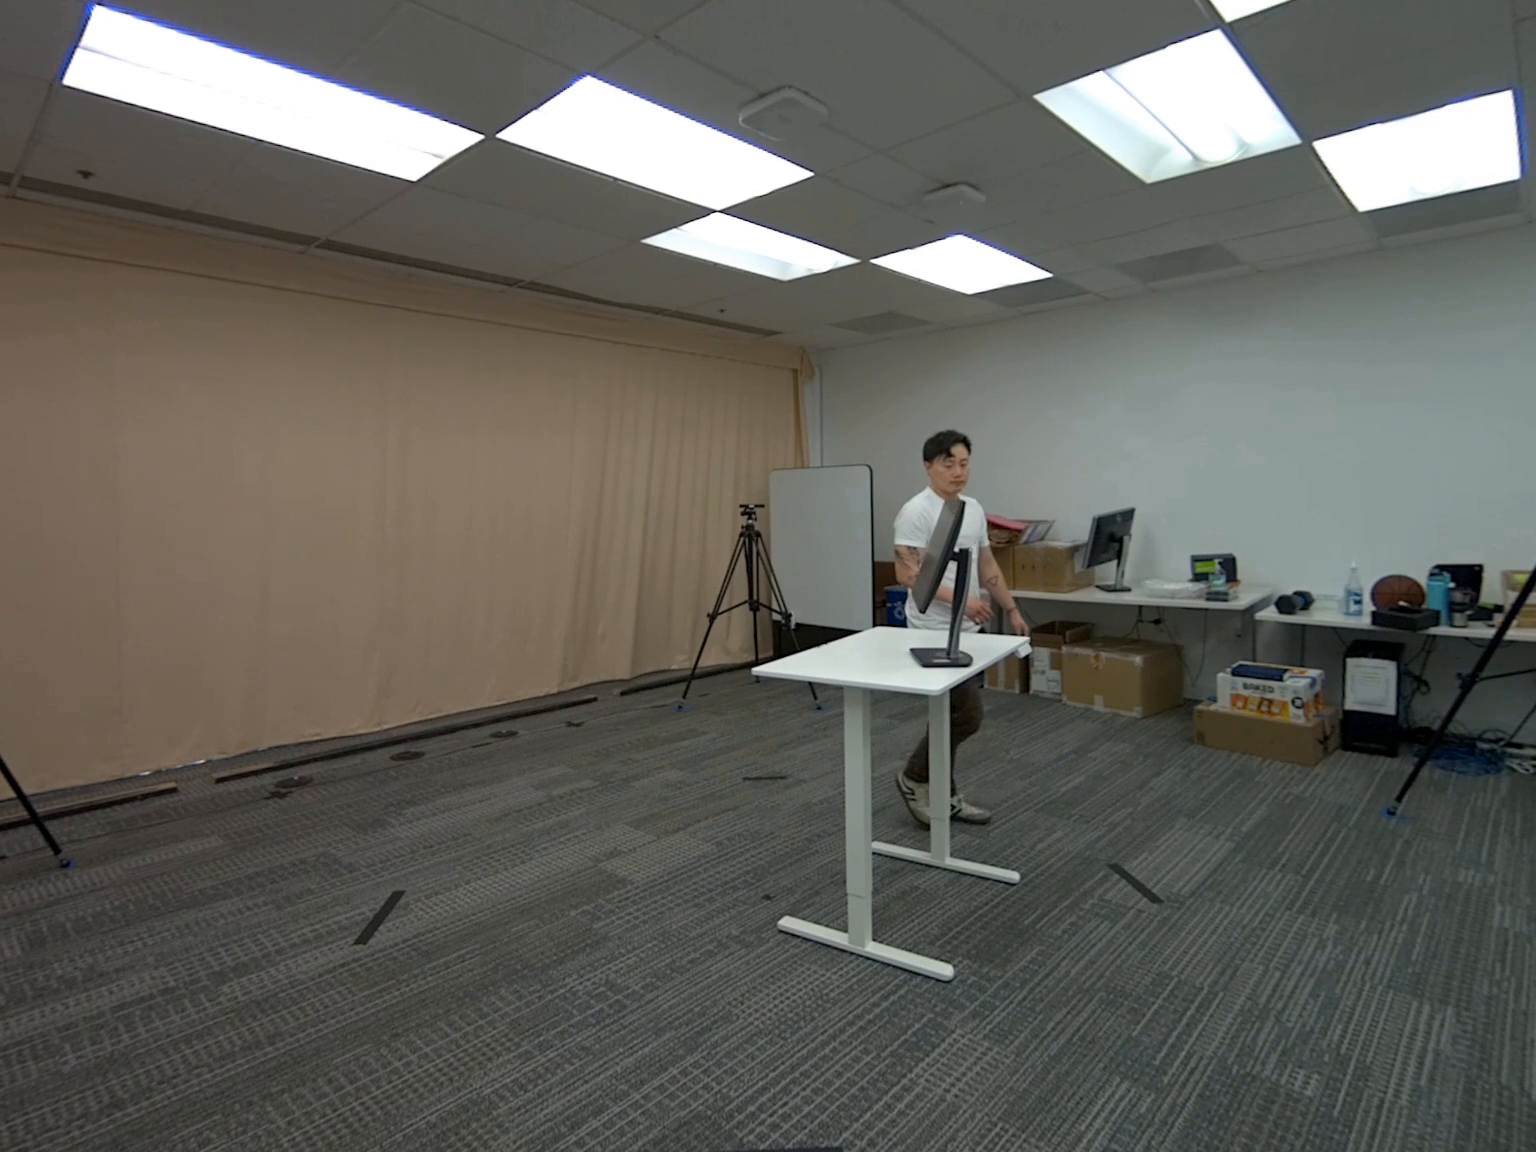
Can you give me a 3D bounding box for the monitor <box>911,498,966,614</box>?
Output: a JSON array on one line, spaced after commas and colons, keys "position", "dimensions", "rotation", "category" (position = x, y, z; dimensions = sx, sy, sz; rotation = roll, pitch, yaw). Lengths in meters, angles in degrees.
[{"position": [0.582, 0.019, 2.710], "dimensions": [0.188, 0.521, 0.536], "rotation": [4, 4, 5], "category": "monitor"}]
